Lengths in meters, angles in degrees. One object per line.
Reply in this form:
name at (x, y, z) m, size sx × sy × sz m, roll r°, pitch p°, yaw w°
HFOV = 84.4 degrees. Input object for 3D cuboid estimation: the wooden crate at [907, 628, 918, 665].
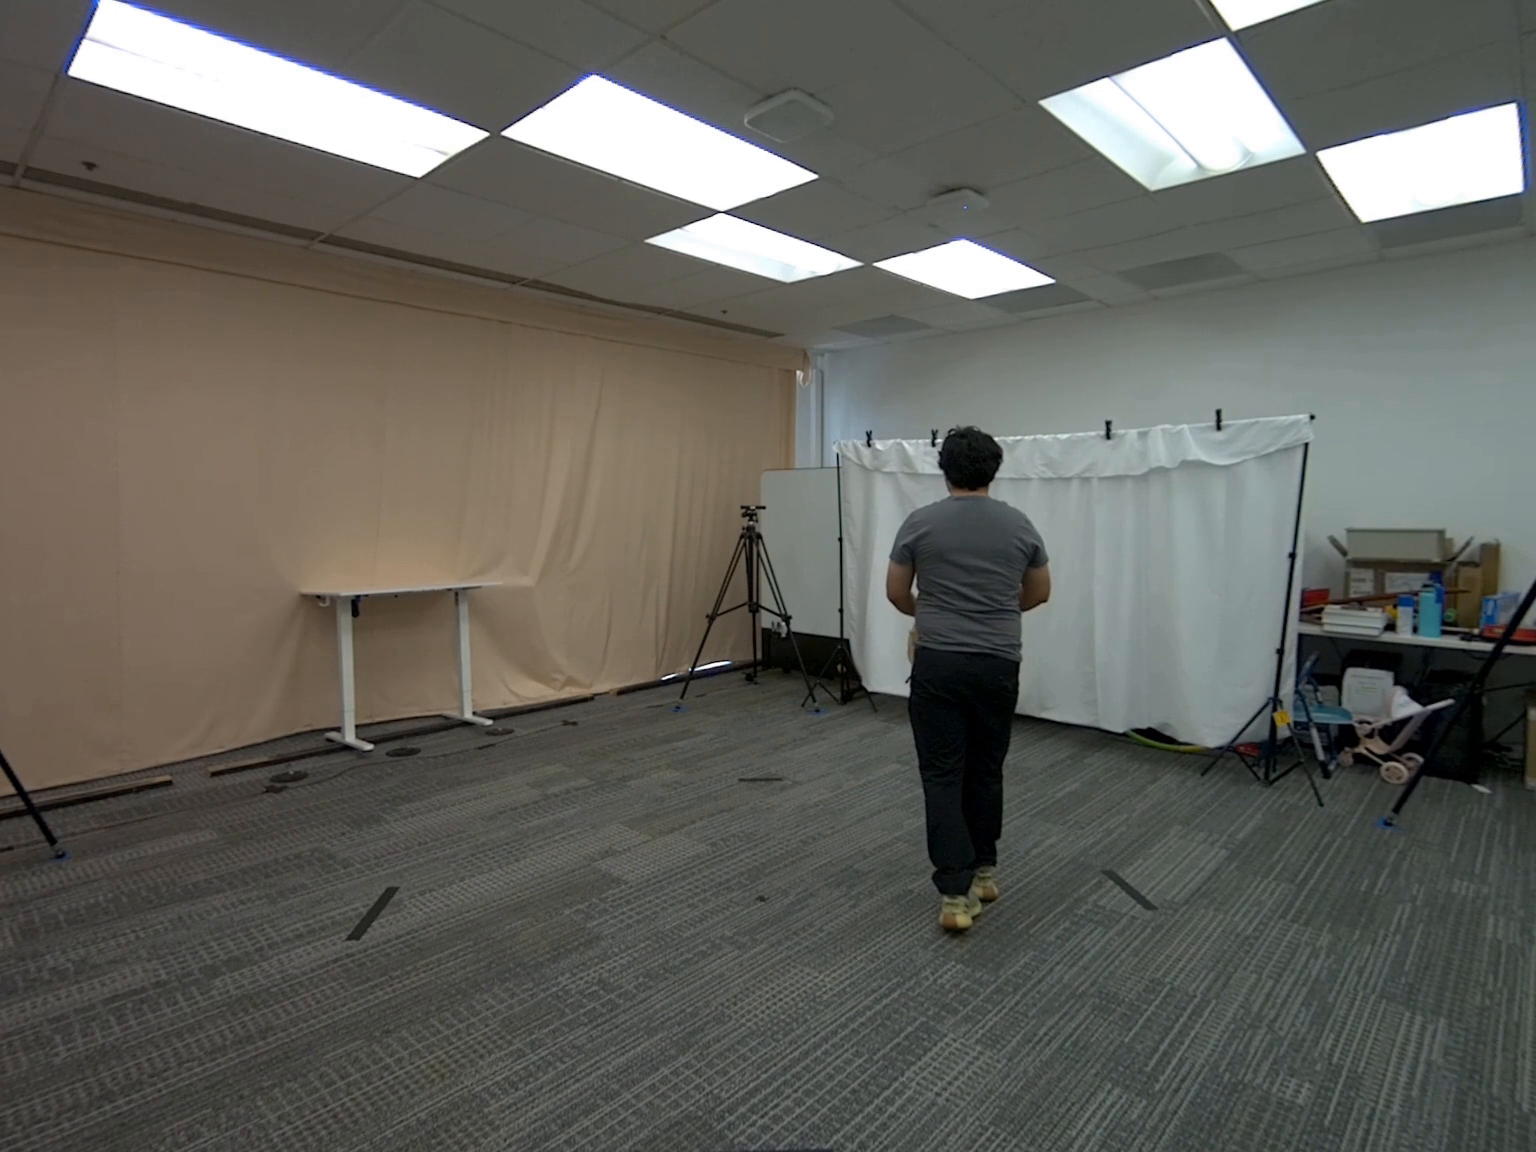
wooden crate at (0.730, 0.358, 3.303) m, size 0.324 × 0.278 × 0.297 m, roll -1°, pitch -32°, yaw -2°
